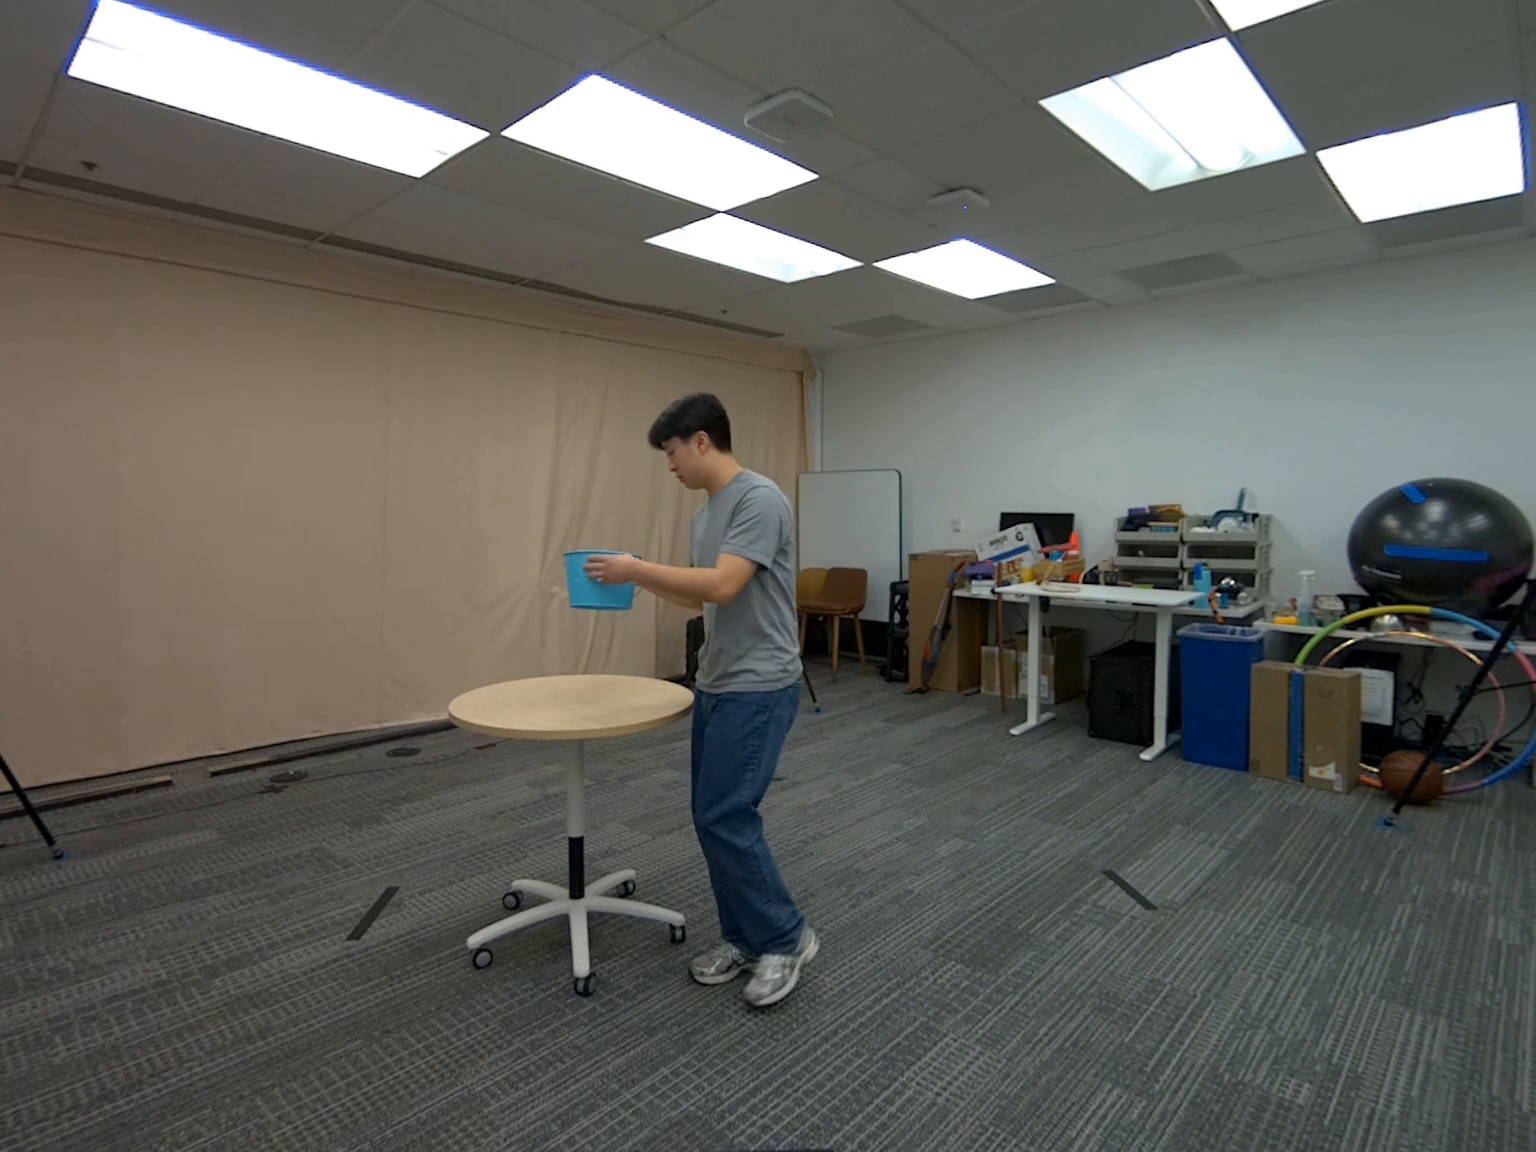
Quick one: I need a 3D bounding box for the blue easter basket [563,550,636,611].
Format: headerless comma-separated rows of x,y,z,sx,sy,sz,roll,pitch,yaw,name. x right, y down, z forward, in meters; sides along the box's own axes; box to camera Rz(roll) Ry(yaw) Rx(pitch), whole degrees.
-0.475,0.023,2.469,0.243,0.156,0.243,1,-6,-2,blue easter basket
